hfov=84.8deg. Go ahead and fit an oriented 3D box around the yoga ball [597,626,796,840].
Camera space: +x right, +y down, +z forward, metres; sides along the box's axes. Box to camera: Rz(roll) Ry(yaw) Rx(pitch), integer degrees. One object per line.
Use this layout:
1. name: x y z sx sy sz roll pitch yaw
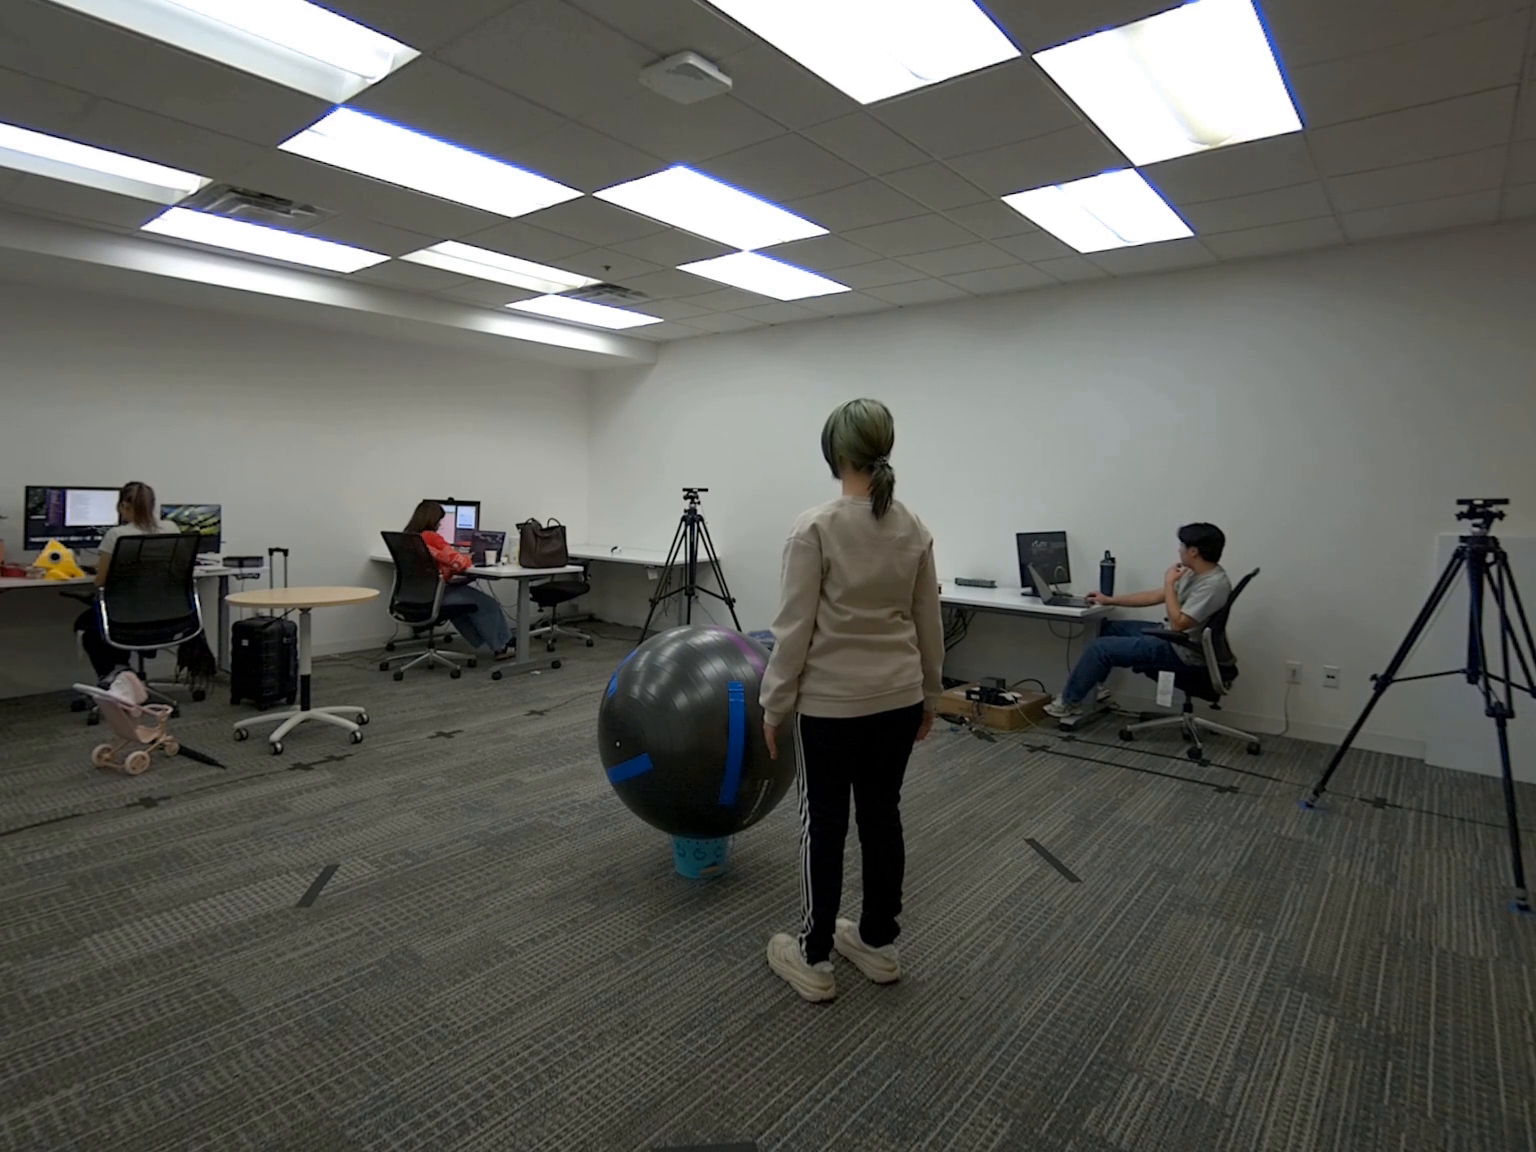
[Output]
1. yoga ball: -0.253 0.554 3.102 0.757 0.755 0.762 1 4 -2
